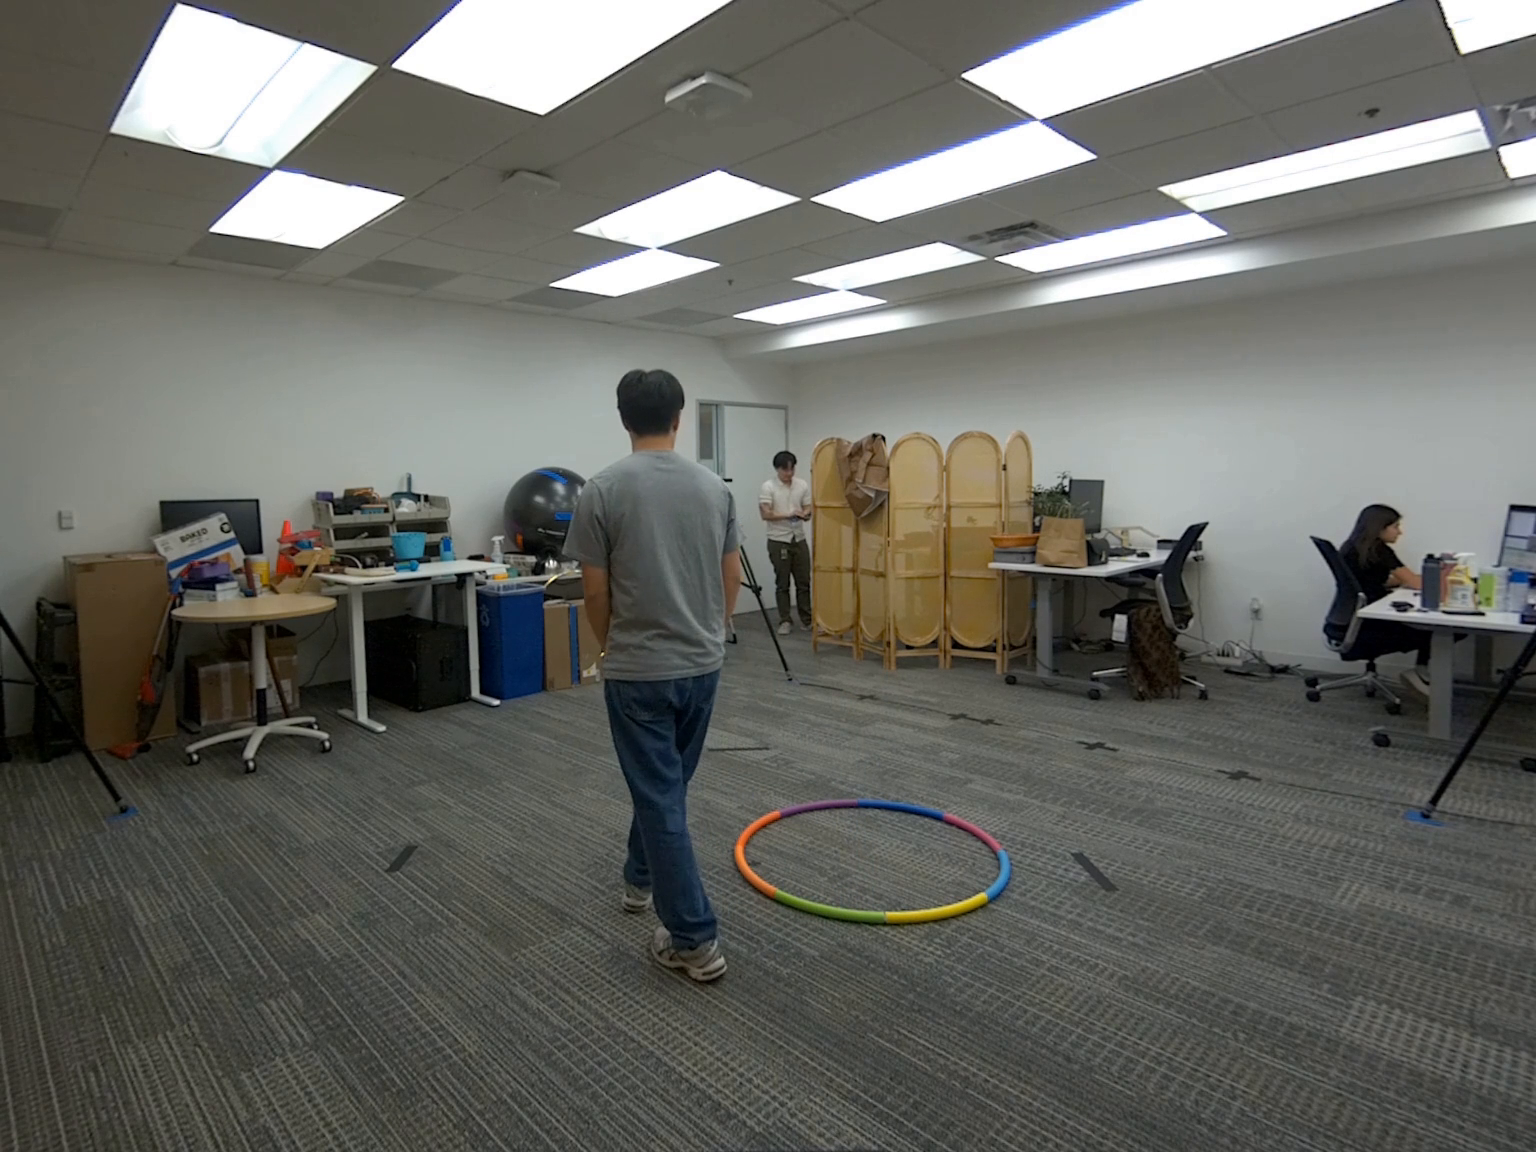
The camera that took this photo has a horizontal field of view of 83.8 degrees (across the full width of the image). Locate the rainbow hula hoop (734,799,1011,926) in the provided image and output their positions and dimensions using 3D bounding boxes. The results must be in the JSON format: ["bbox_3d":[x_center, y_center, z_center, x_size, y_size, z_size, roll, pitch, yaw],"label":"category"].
[{"bbox_3d":[0.366,1.001,3.147,0.978,0.035,0.984,-2,7,-2],"label":"rainbow hula hoop"}]
